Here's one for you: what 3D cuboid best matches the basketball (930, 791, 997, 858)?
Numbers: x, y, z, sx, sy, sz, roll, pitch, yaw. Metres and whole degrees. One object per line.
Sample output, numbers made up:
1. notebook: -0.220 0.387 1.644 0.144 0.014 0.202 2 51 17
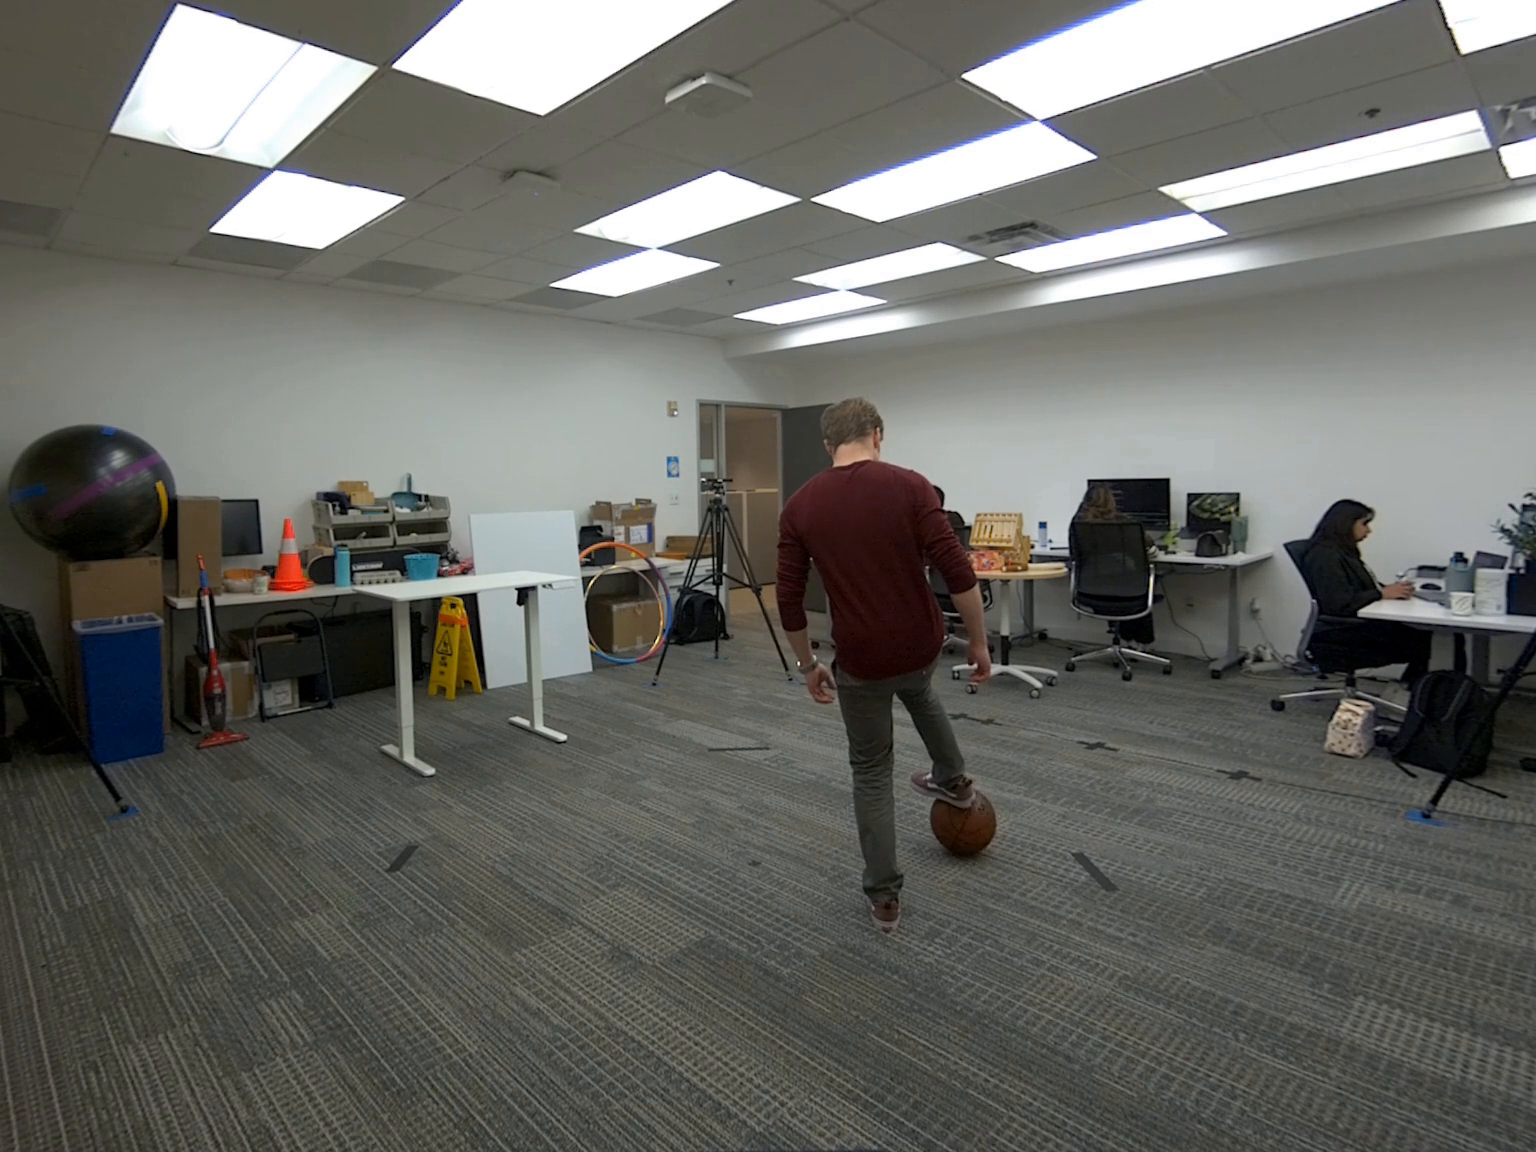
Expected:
1. basketball: 0.727 0.904 3.171 0.236 0.235 0.237 -1 5 -2
